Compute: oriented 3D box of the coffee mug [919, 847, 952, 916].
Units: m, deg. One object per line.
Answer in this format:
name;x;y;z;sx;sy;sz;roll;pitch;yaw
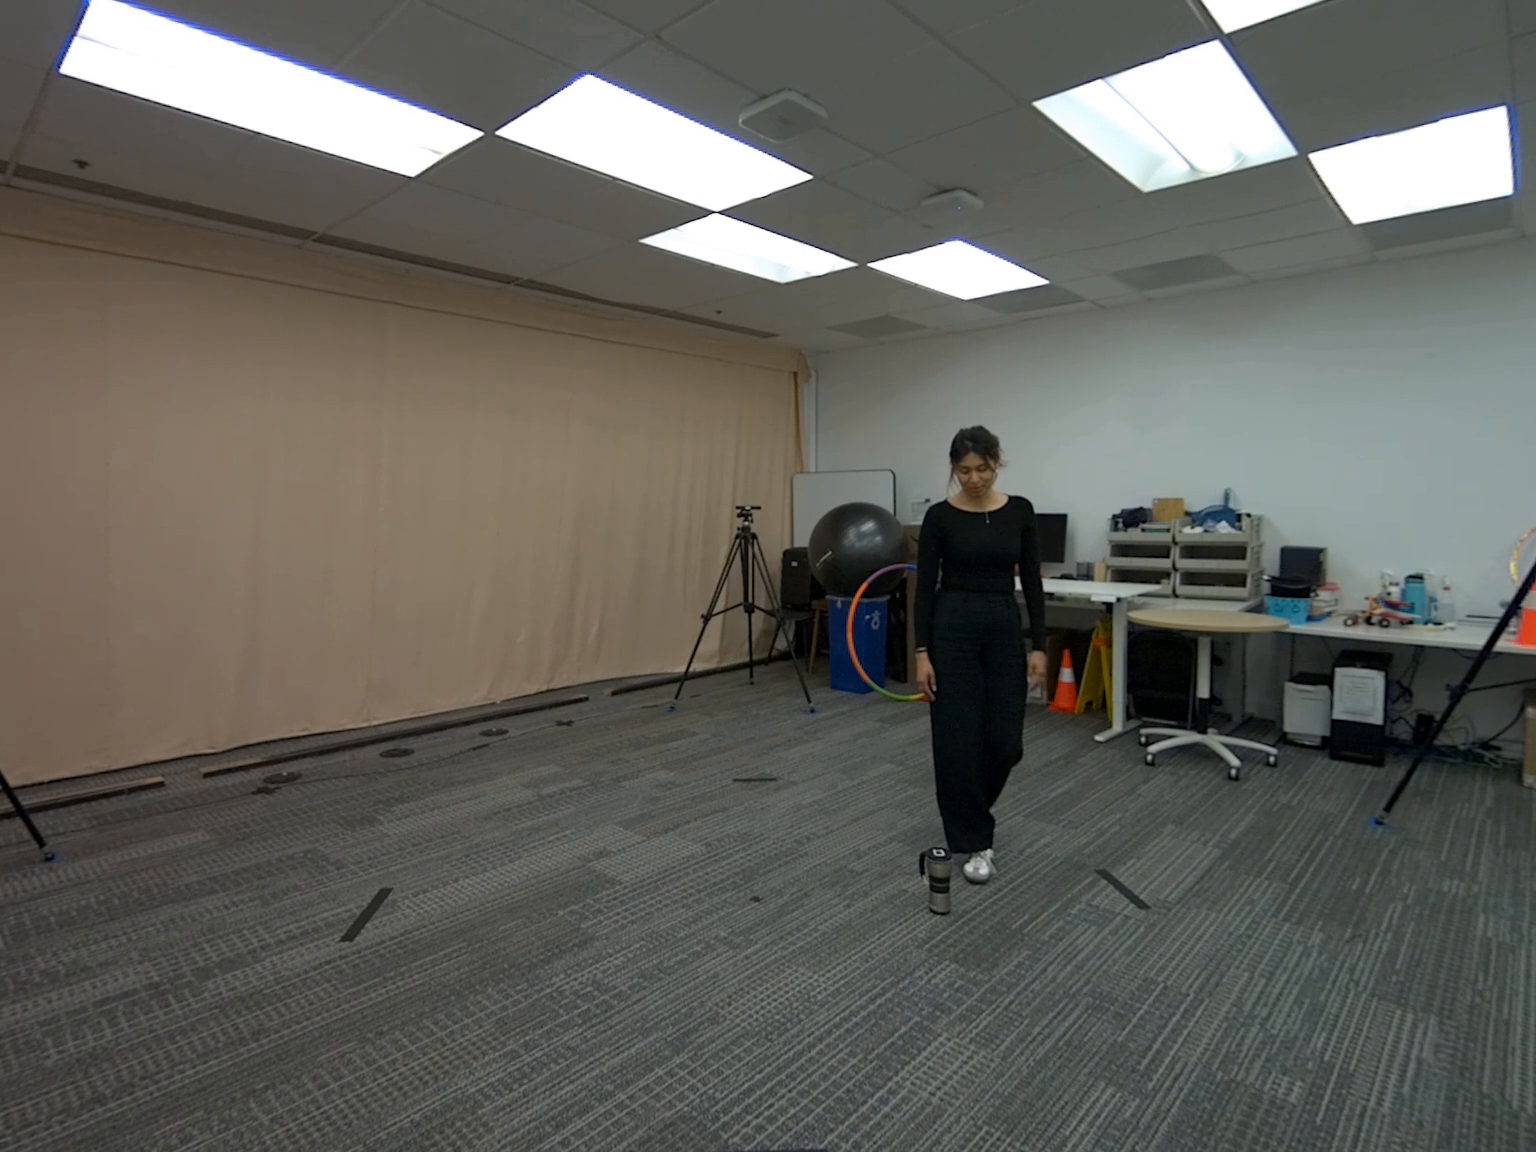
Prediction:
coffee mug;0.594;1.050;2.908;0.086;0.202;0.124;-3;6;-15
